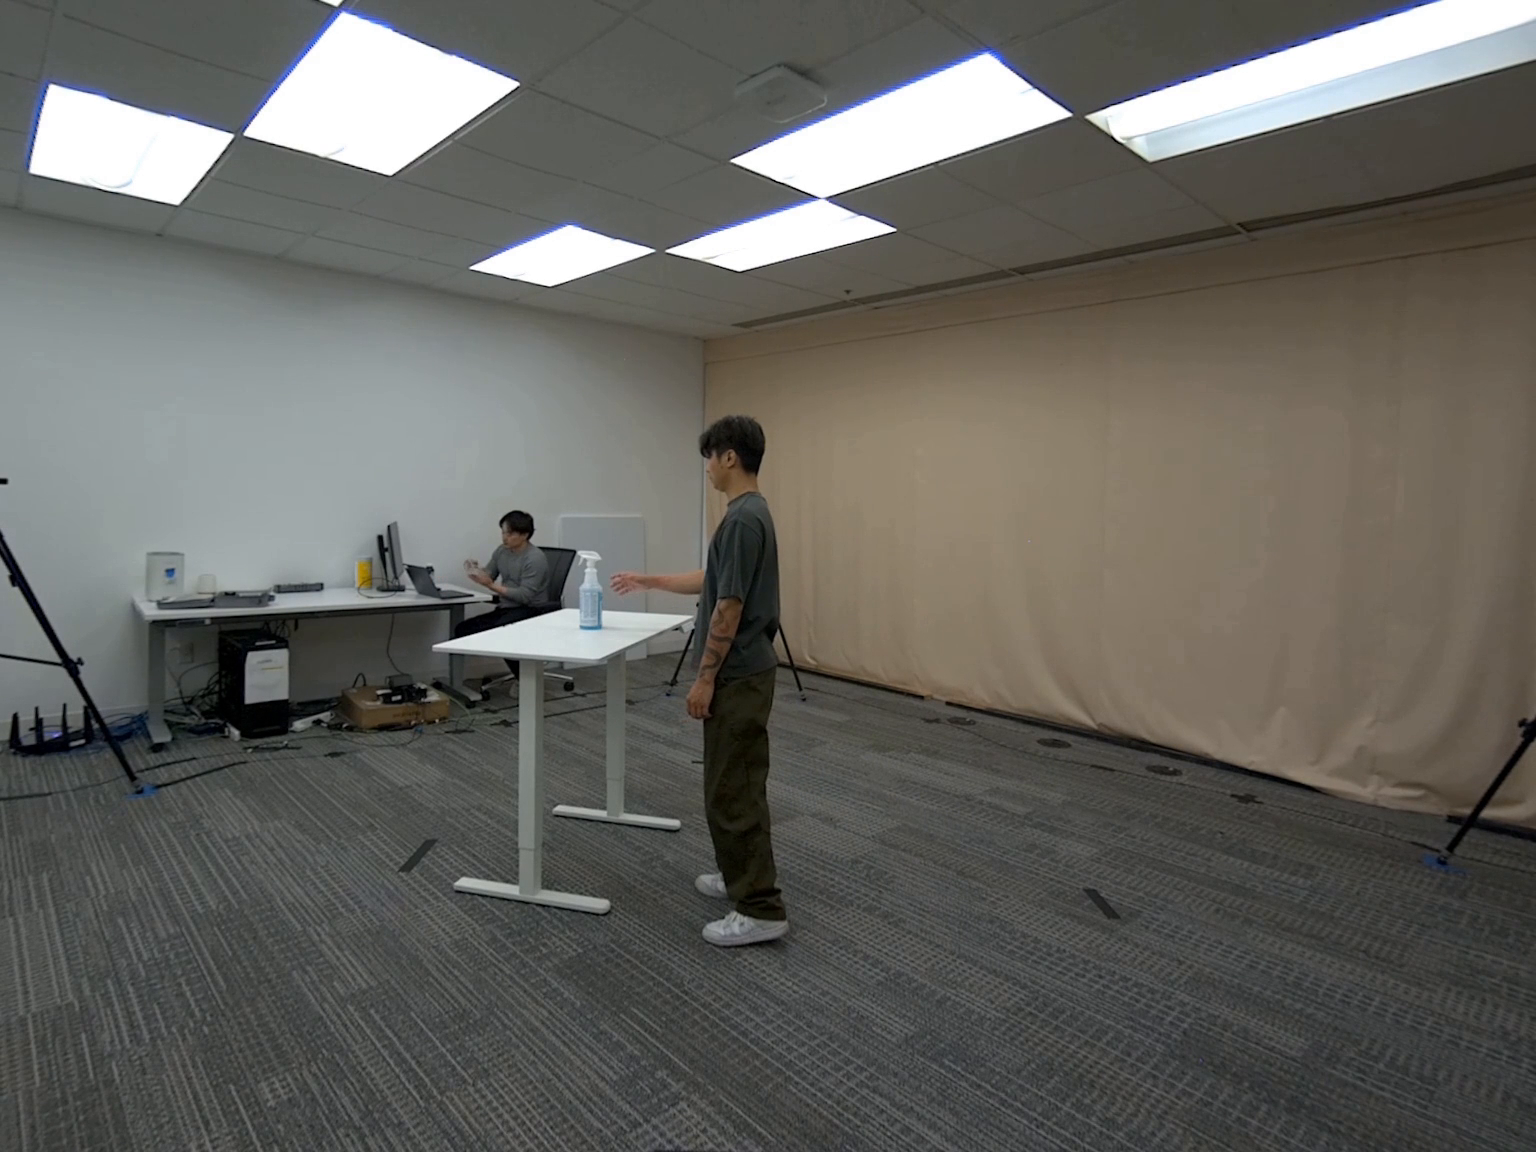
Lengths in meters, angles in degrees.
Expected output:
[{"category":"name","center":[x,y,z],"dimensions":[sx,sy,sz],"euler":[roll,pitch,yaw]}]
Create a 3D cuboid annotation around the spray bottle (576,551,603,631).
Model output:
[{"category":"spray bottle","center":[-0.684,0.056,3.223],"dimensions":[0.092,0.297,0.085],"euler":[1,3,32]}]
